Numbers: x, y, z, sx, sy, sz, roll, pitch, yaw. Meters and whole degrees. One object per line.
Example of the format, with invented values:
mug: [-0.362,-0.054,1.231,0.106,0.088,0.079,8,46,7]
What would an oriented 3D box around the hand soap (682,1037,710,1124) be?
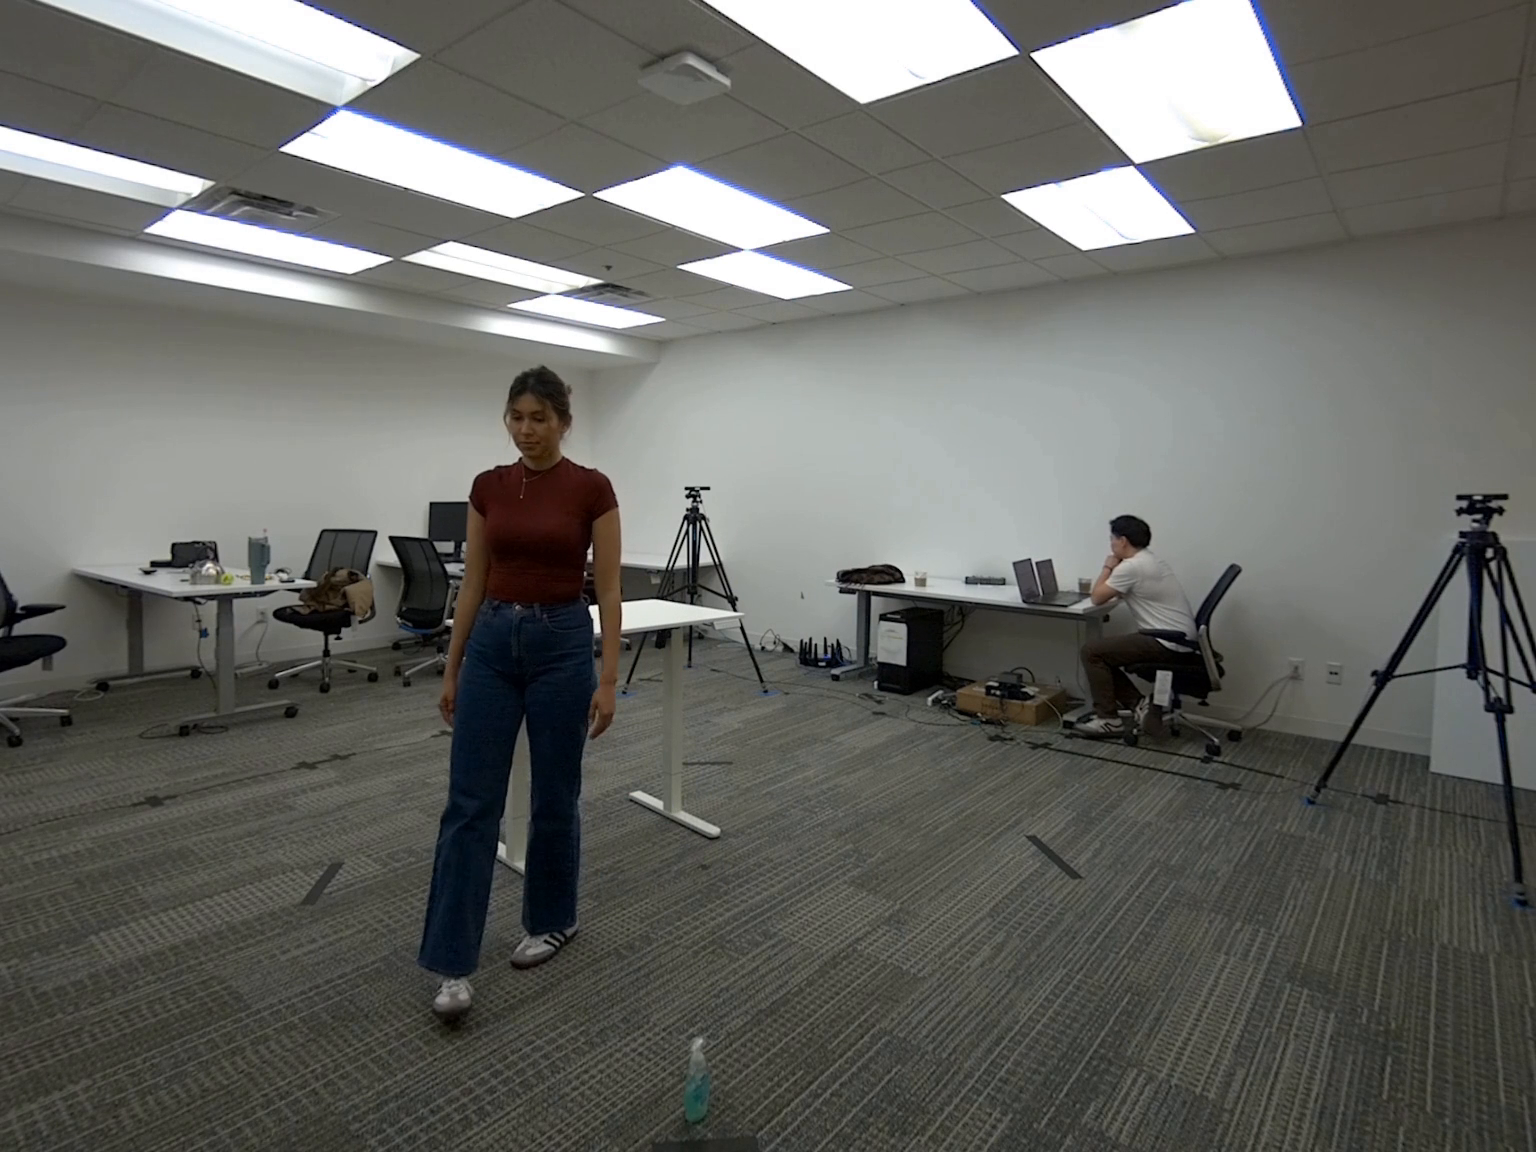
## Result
hand soap: [-0.162,1.114,1.881,0.044,0.168,0.083,4,3,19]
